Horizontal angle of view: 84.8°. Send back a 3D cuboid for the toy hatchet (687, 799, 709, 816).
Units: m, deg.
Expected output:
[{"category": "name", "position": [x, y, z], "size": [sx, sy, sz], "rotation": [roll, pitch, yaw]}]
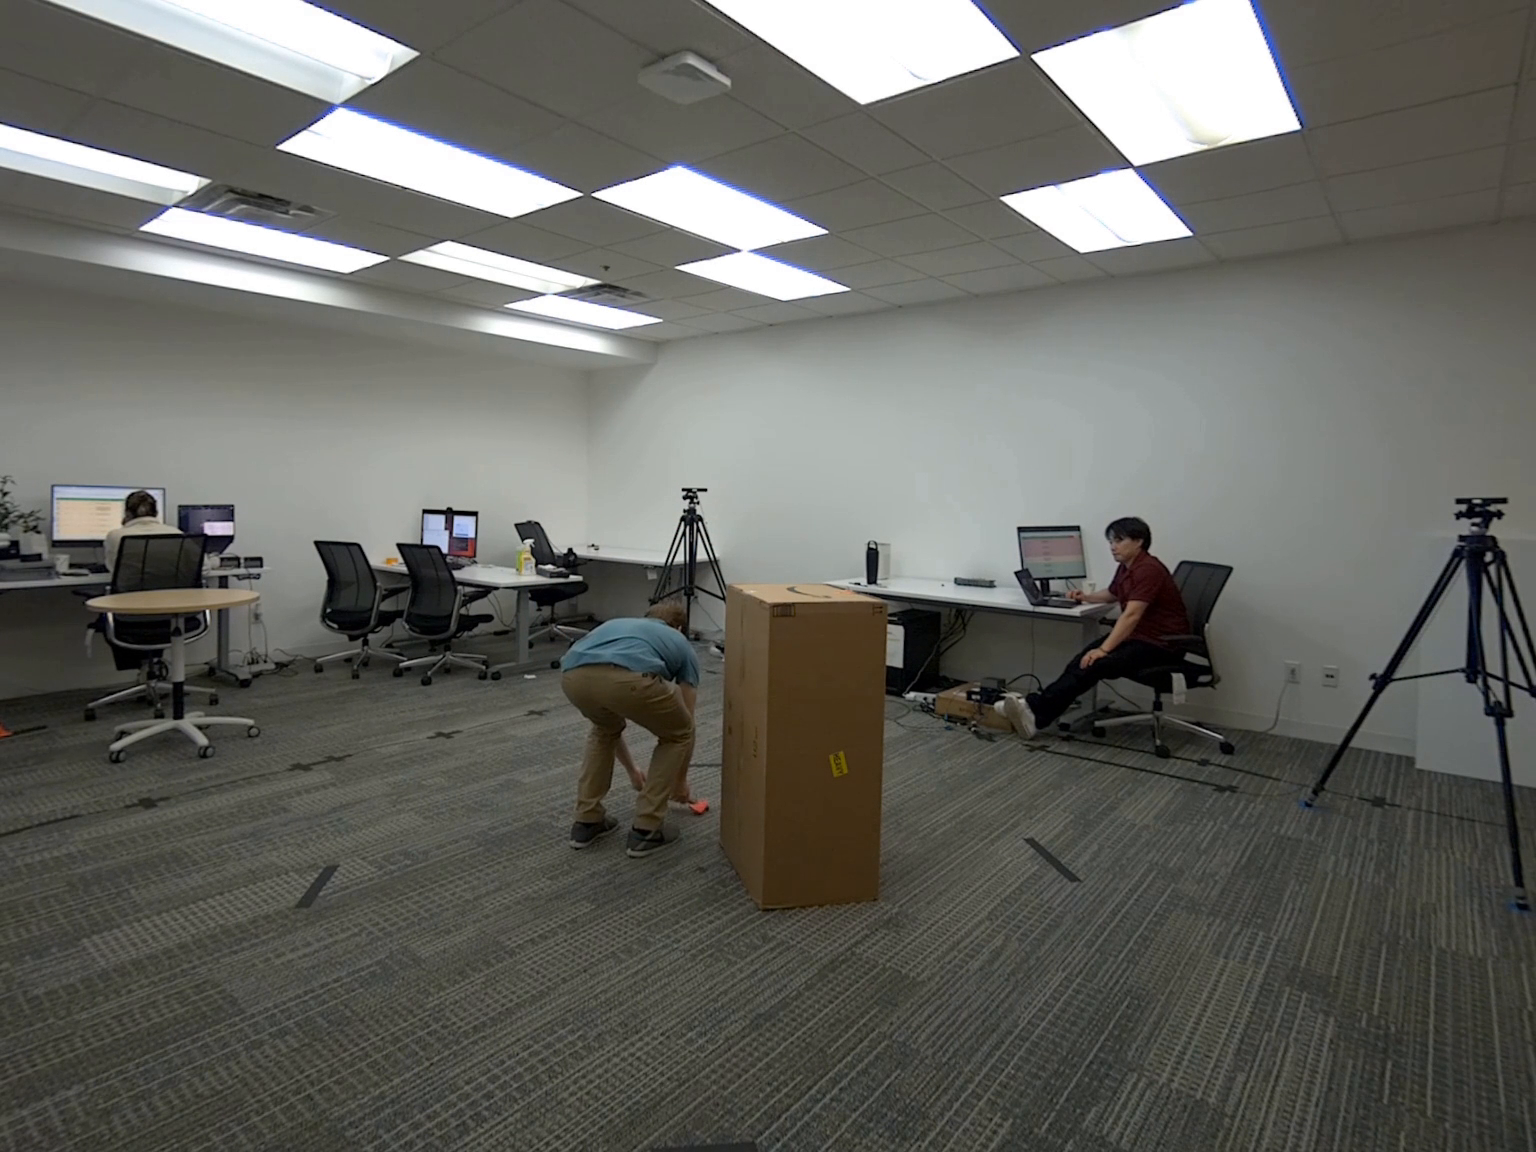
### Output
[{"category": "toy hatchet", "position": [-0.389, 0.973, 3.668], "size": [0.267, 0.029, 0.133], "rotation": [10, 9, -10]}]
